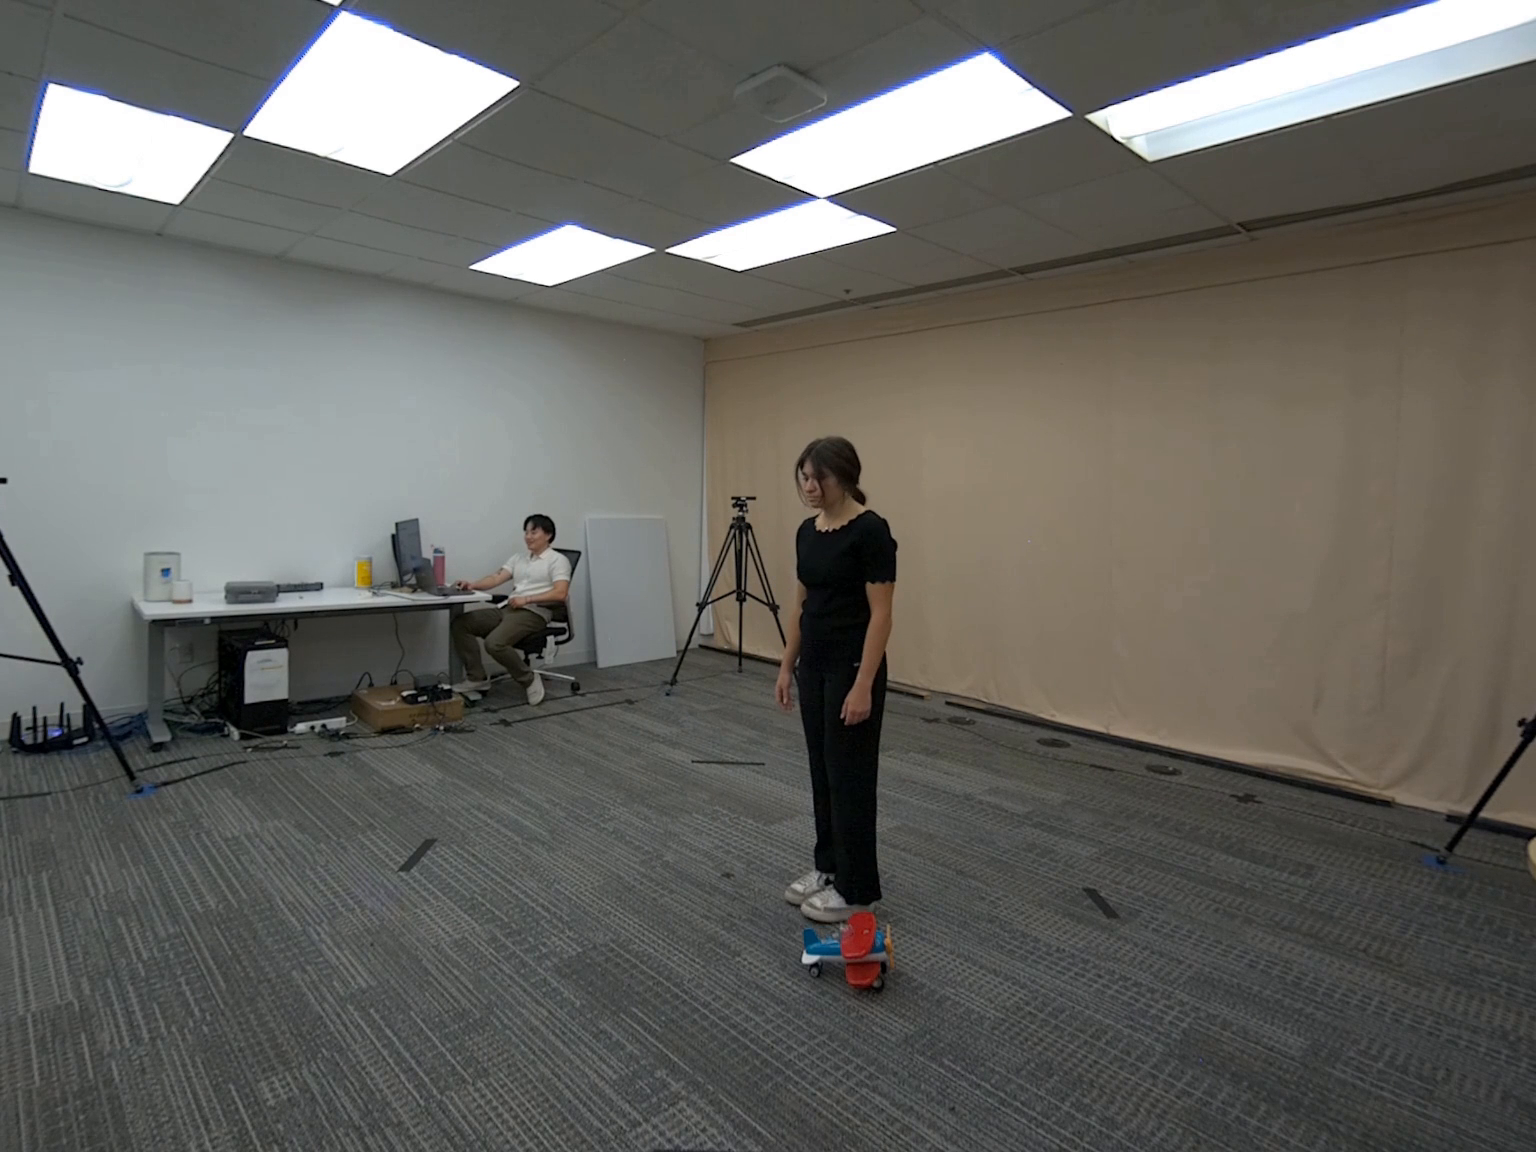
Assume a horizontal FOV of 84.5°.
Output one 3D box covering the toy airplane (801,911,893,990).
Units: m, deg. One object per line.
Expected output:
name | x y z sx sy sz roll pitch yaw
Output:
toy airplane | 0.222 1.104 2.437 0.256 0.156 0.255 1 4 -15
